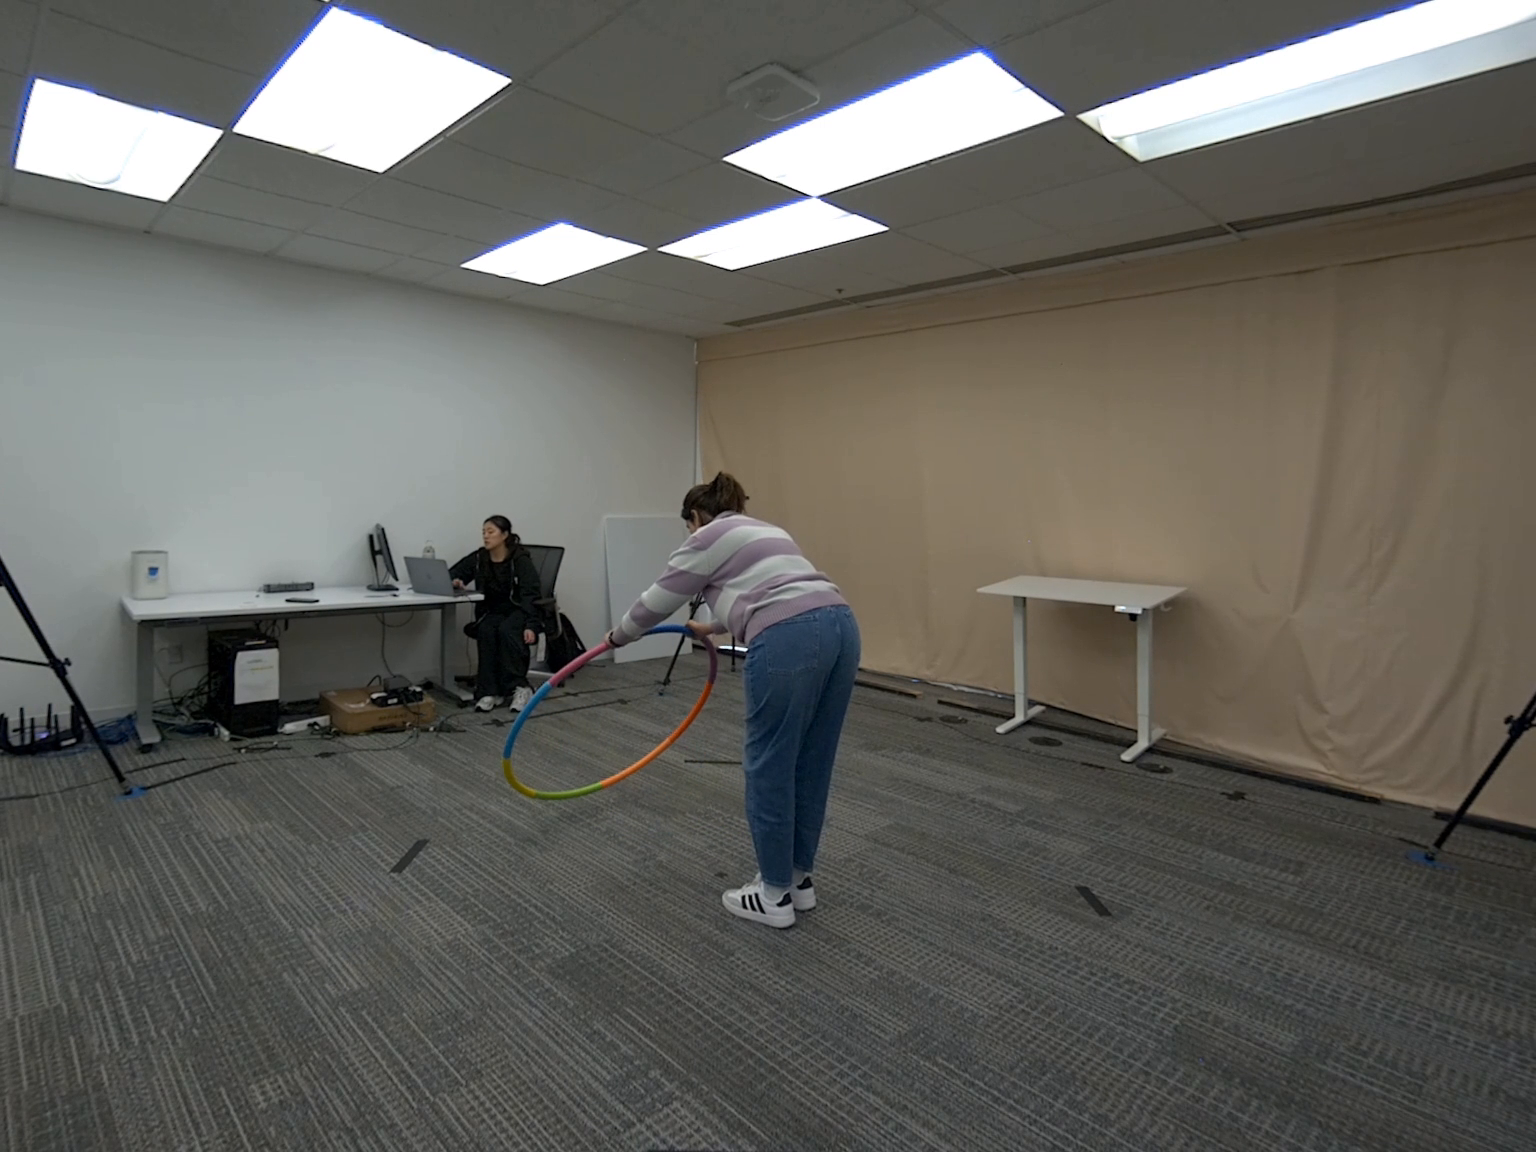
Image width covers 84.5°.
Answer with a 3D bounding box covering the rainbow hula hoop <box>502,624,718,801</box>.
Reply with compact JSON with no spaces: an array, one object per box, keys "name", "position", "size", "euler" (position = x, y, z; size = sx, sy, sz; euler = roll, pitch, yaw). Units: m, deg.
[{"name":"rainbow hula hoop","position":[-0.619,0.576,3.442],"size":[0.956,0.972,0.036],"euler":[-3,41,-45]}]
